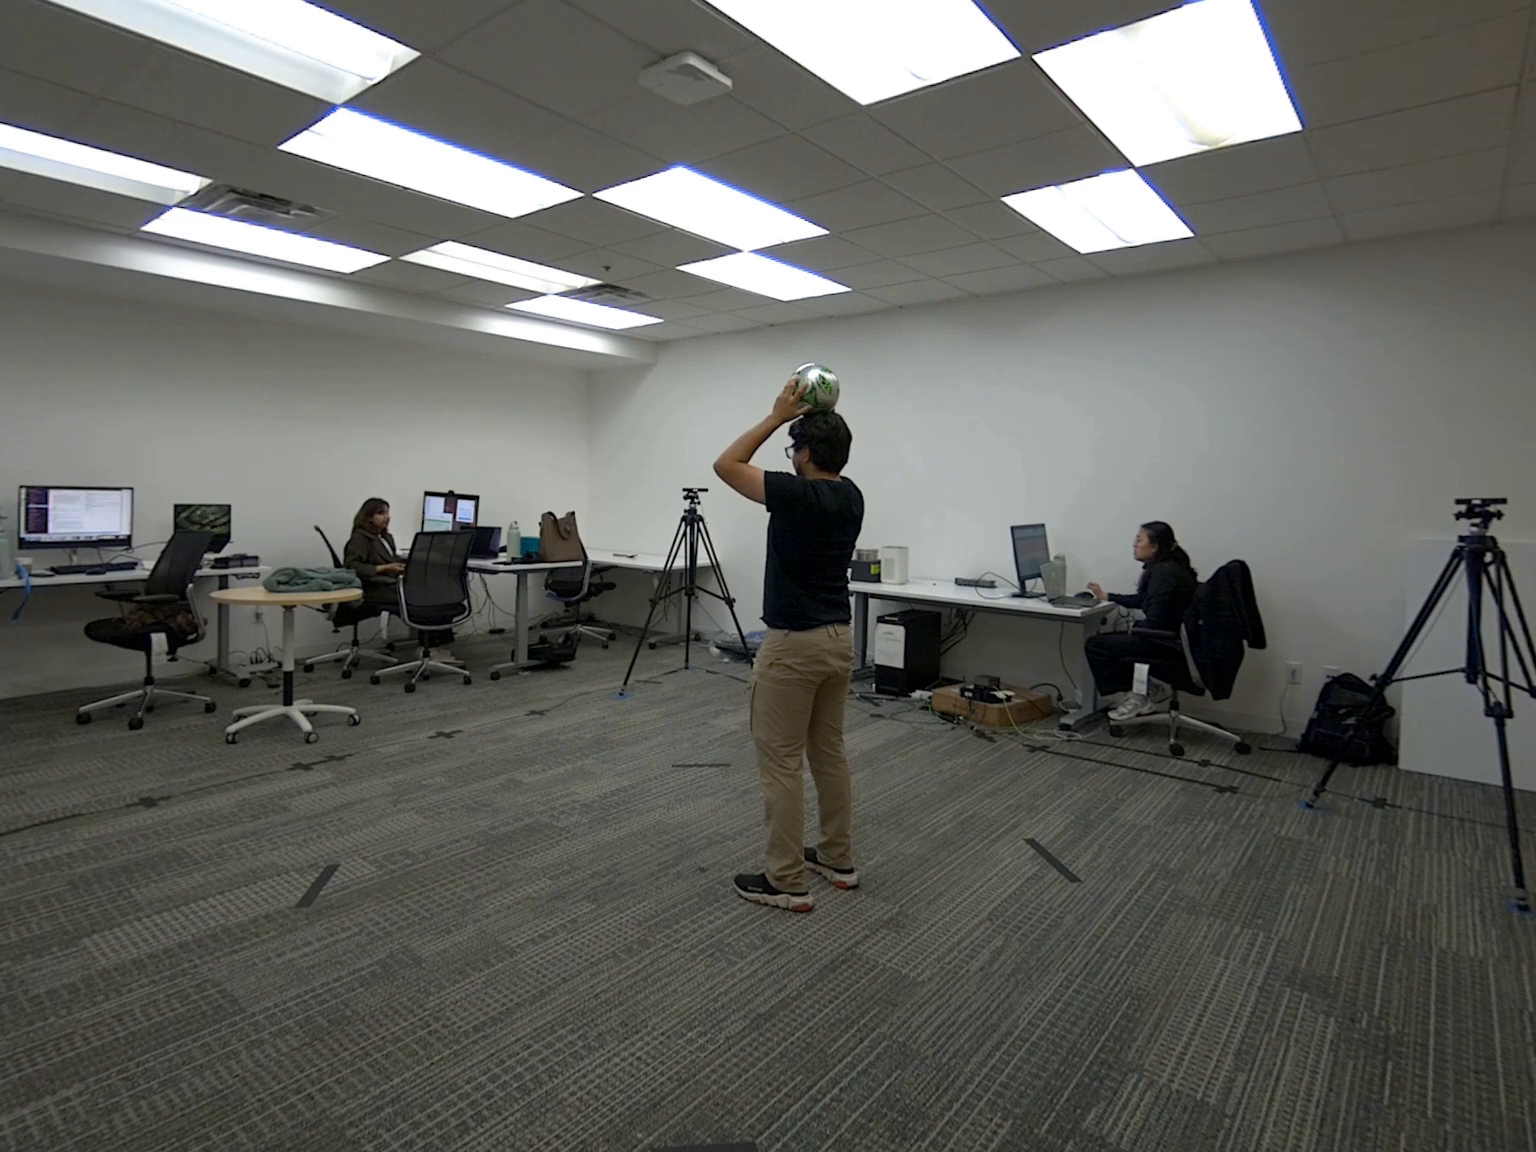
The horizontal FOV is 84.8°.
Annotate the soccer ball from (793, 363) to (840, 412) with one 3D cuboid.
[{"bbox_3d":[0.154,-0.652,2.989,0.187,0.187,0.188,1,4,-2],"label":"soccer ball"}]
